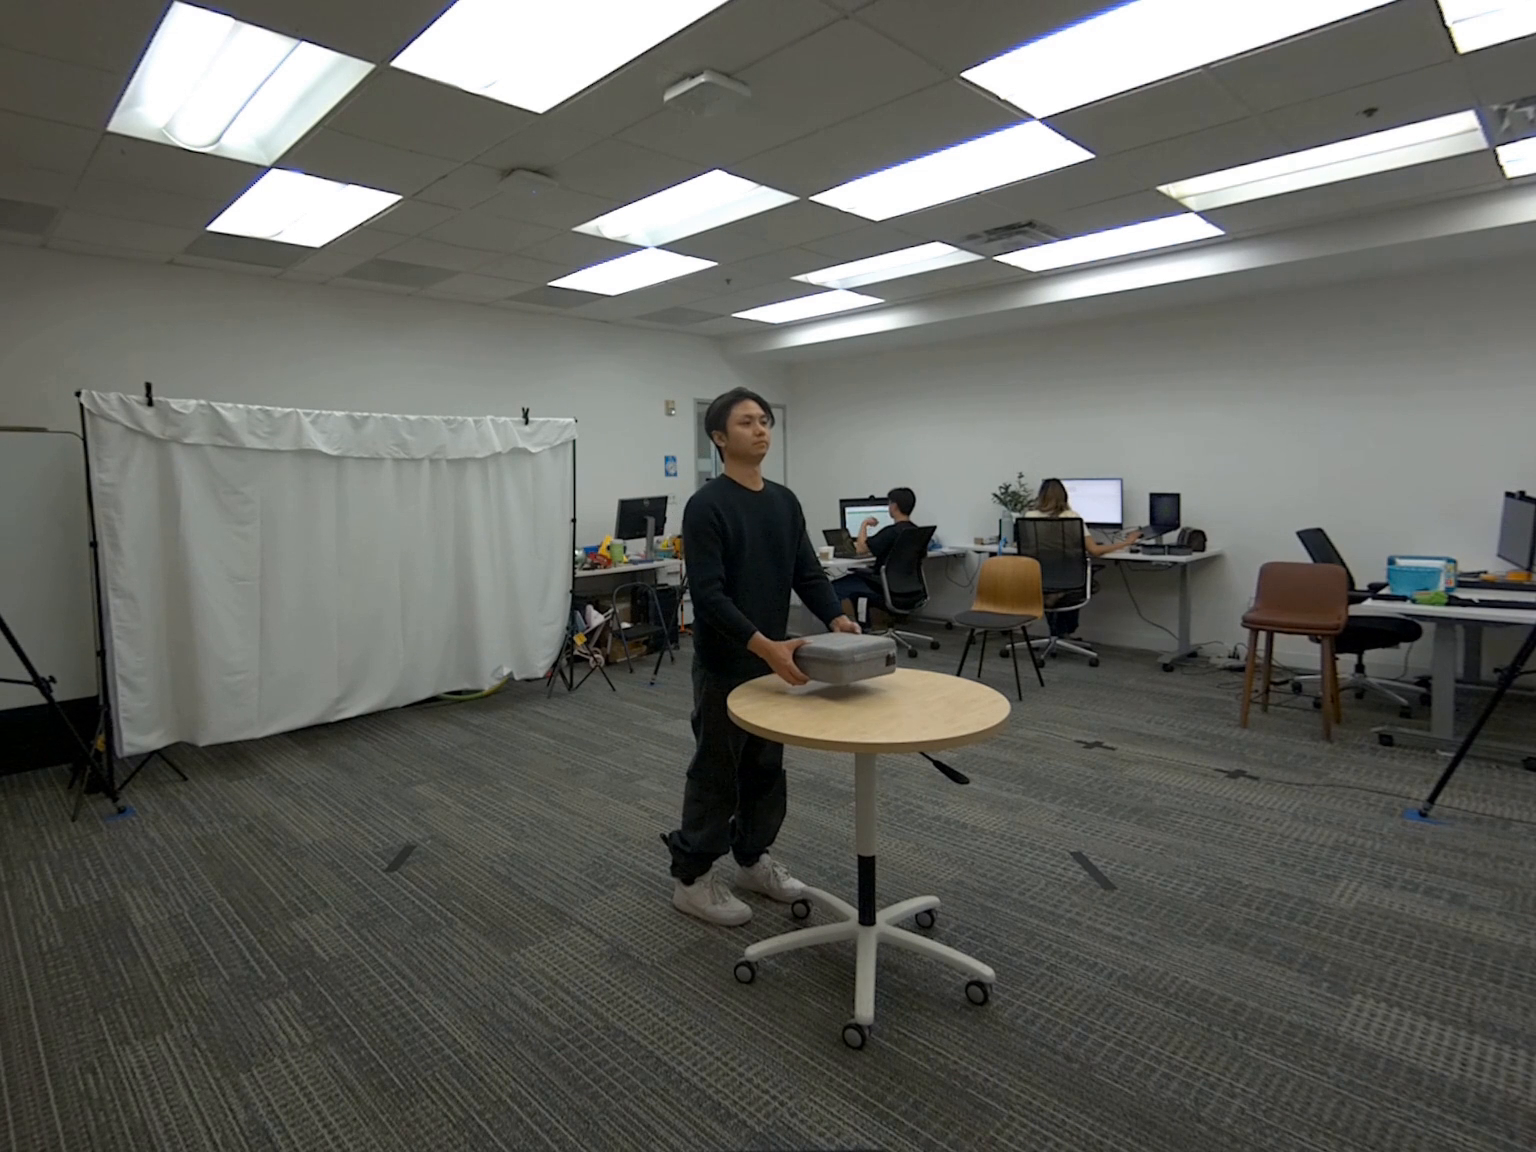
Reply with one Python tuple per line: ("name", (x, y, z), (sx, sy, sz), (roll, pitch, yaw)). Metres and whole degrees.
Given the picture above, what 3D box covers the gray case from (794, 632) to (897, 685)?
("gray case", (0.207, 0.236, 2.453), (0.250, 0.104, 0.268), (-7, 7, -41))
